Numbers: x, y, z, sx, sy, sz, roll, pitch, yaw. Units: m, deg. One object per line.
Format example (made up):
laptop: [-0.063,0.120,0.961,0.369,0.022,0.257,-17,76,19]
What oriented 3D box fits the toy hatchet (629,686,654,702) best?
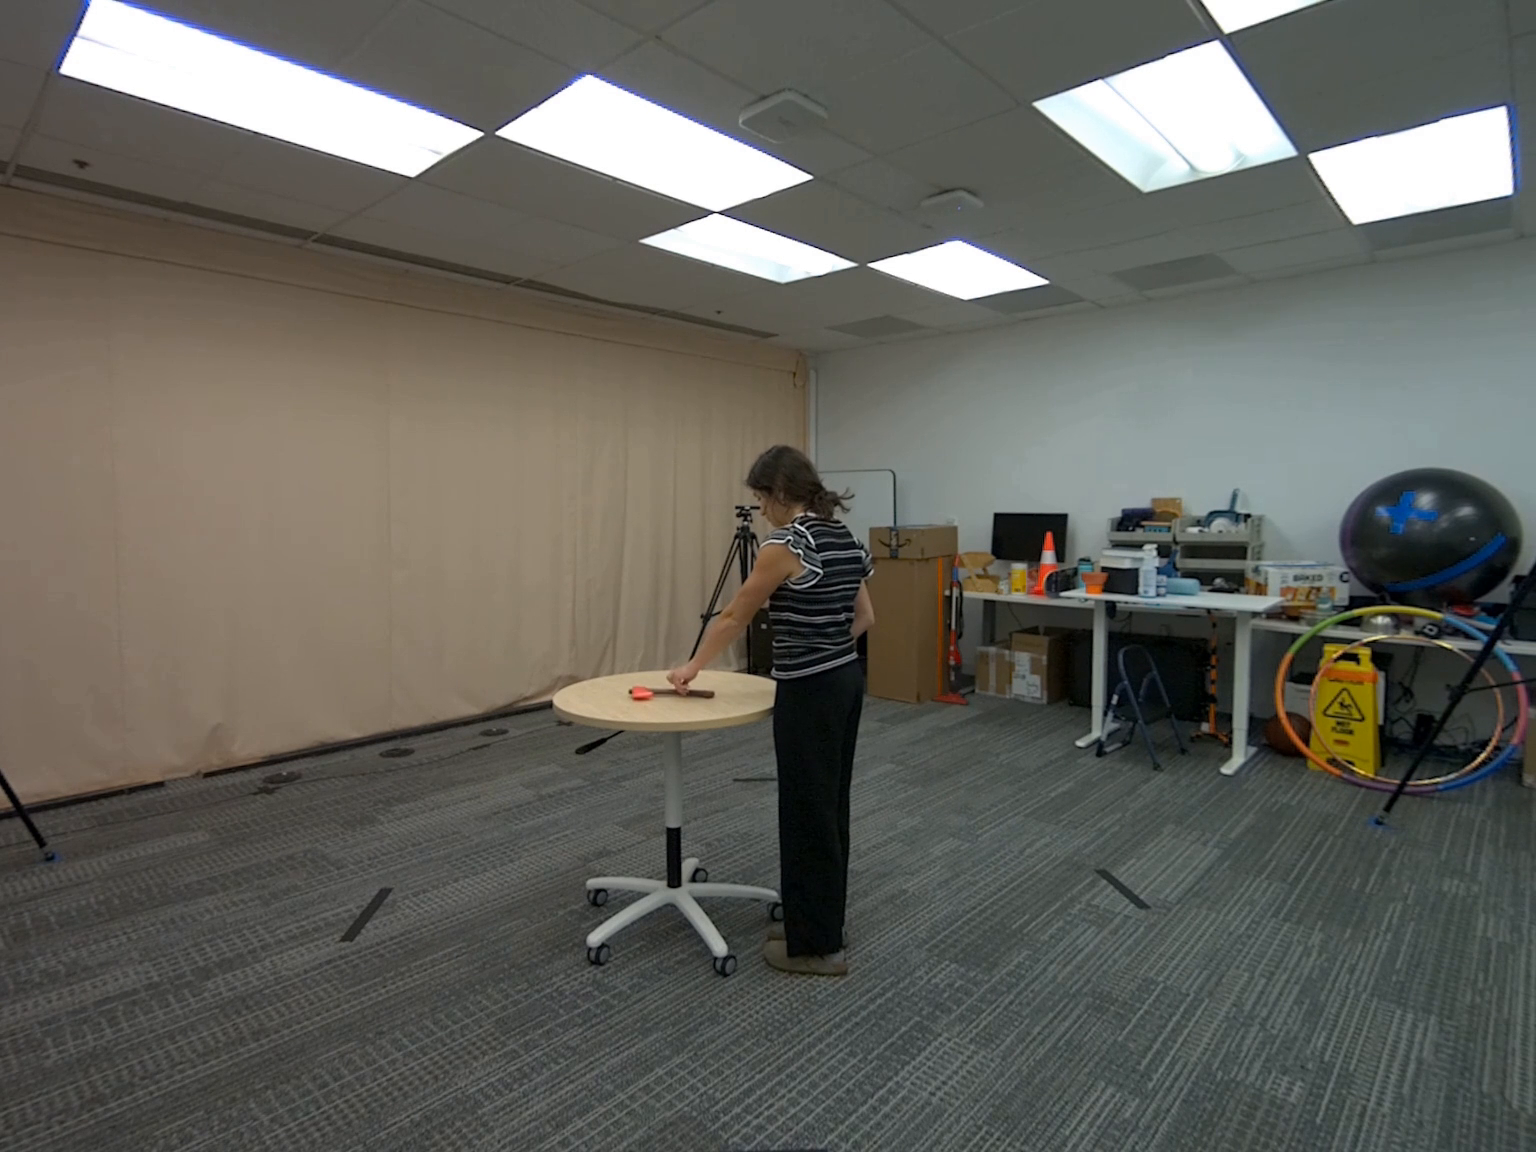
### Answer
toy hatchet: [-0.308,0.375,2.672,0.275,0.029,0.128,1,2,18]
